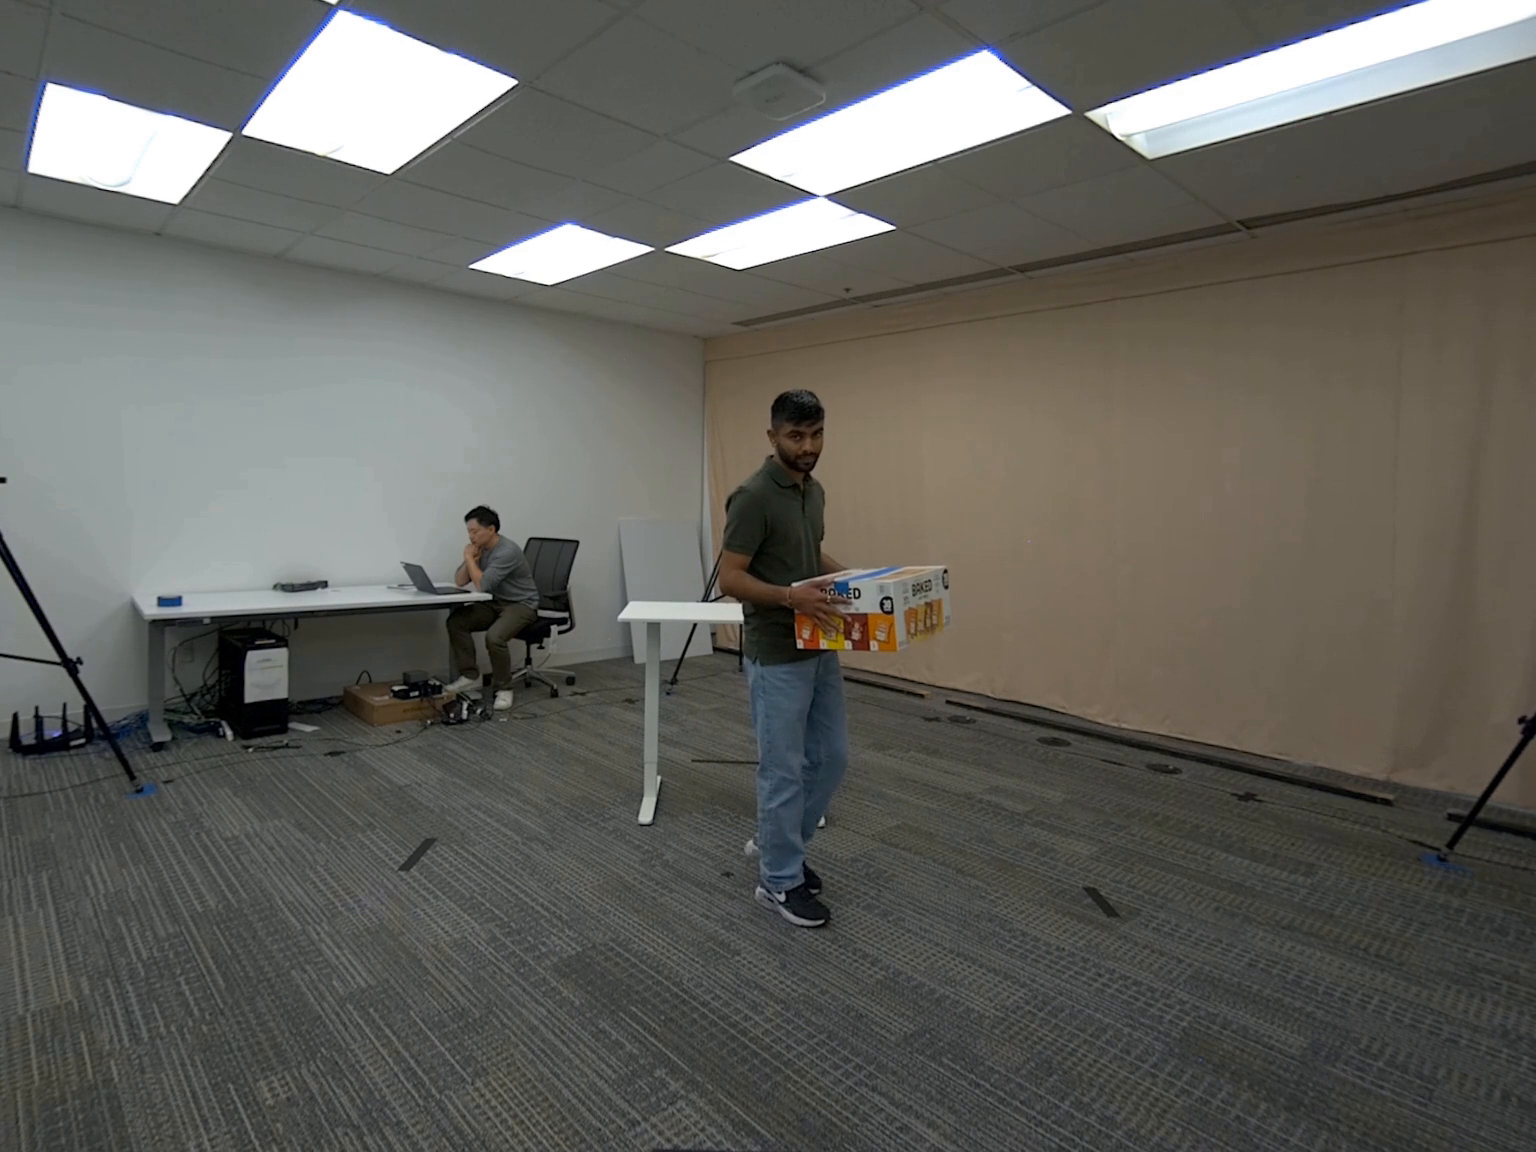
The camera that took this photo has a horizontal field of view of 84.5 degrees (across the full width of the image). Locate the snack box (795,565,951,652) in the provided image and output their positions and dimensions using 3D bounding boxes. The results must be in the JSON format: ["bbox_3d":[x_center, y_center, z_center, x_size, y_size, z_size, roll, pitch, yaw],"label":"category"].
[{"bbox_3d":[0.324,0.095,2.622,0.348,0.205,0.397,-2,5,35],"label":"snack box"}]
